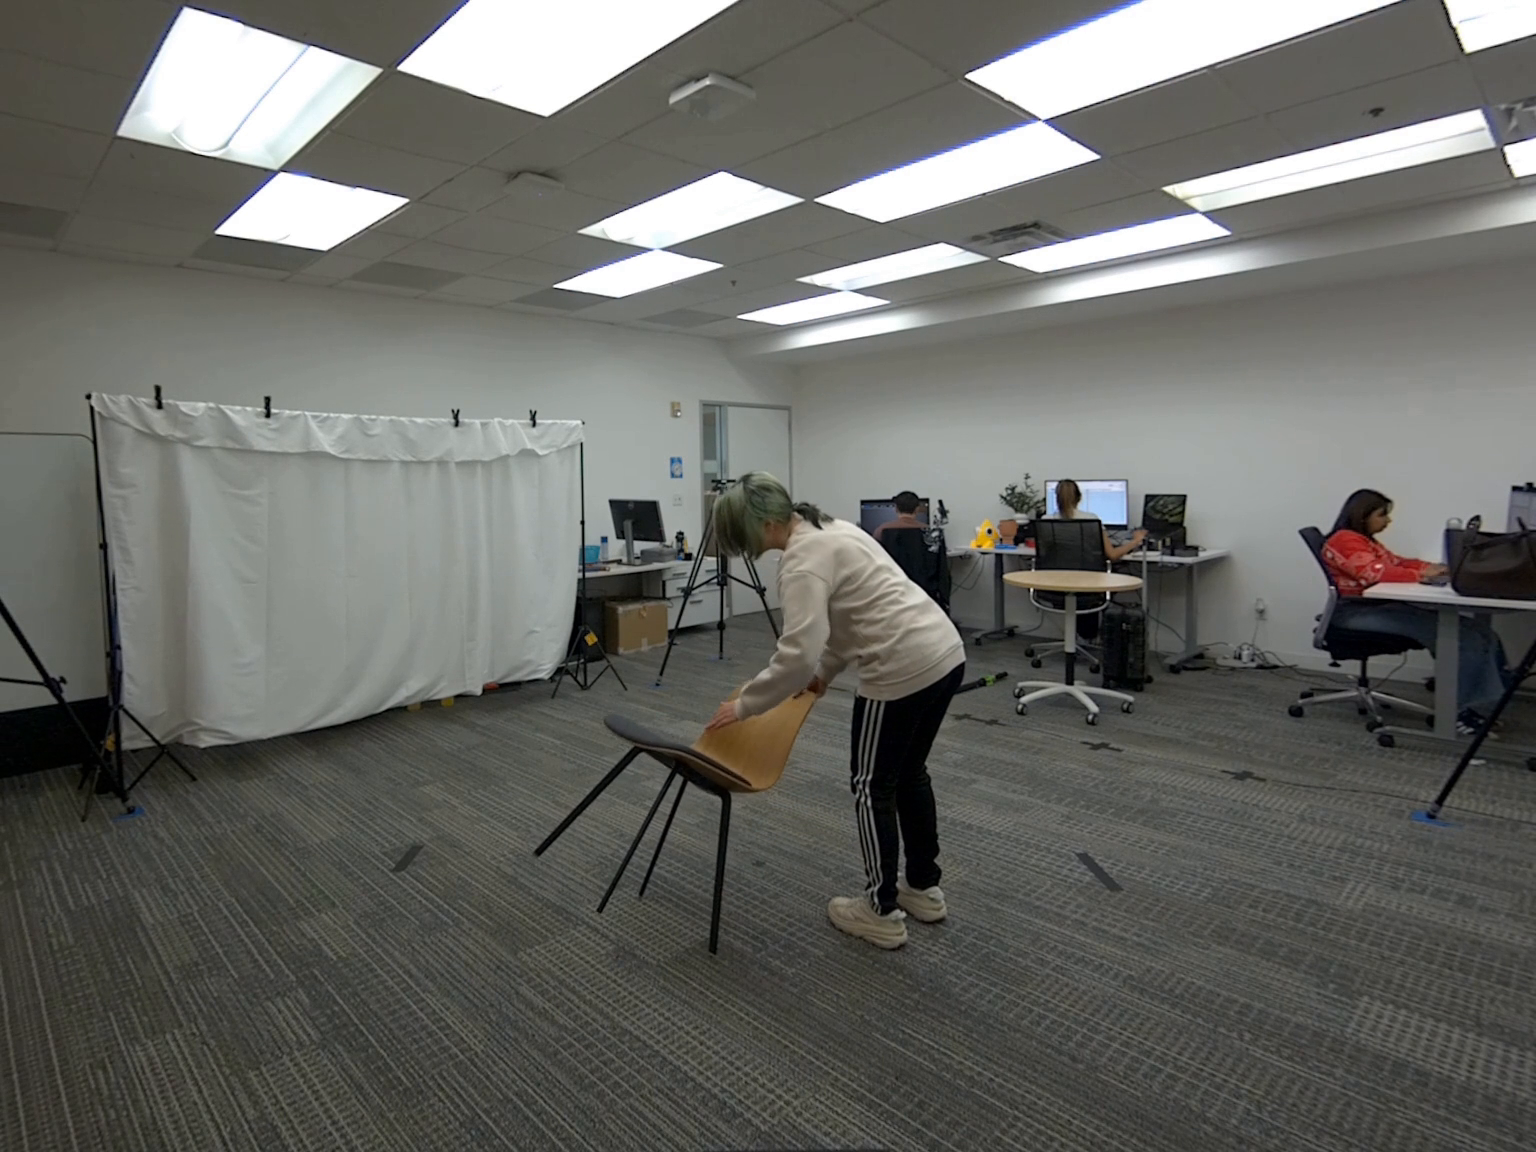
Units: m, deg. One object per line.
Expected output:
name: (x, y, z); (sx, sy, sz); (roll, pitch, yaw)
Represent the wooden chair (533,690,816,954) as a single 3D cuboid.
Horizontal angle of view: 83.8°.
wooden chair: (-0.263, 0.611, 2.686); (0.505, 0.881, 0.492); (40, -19, -31)
